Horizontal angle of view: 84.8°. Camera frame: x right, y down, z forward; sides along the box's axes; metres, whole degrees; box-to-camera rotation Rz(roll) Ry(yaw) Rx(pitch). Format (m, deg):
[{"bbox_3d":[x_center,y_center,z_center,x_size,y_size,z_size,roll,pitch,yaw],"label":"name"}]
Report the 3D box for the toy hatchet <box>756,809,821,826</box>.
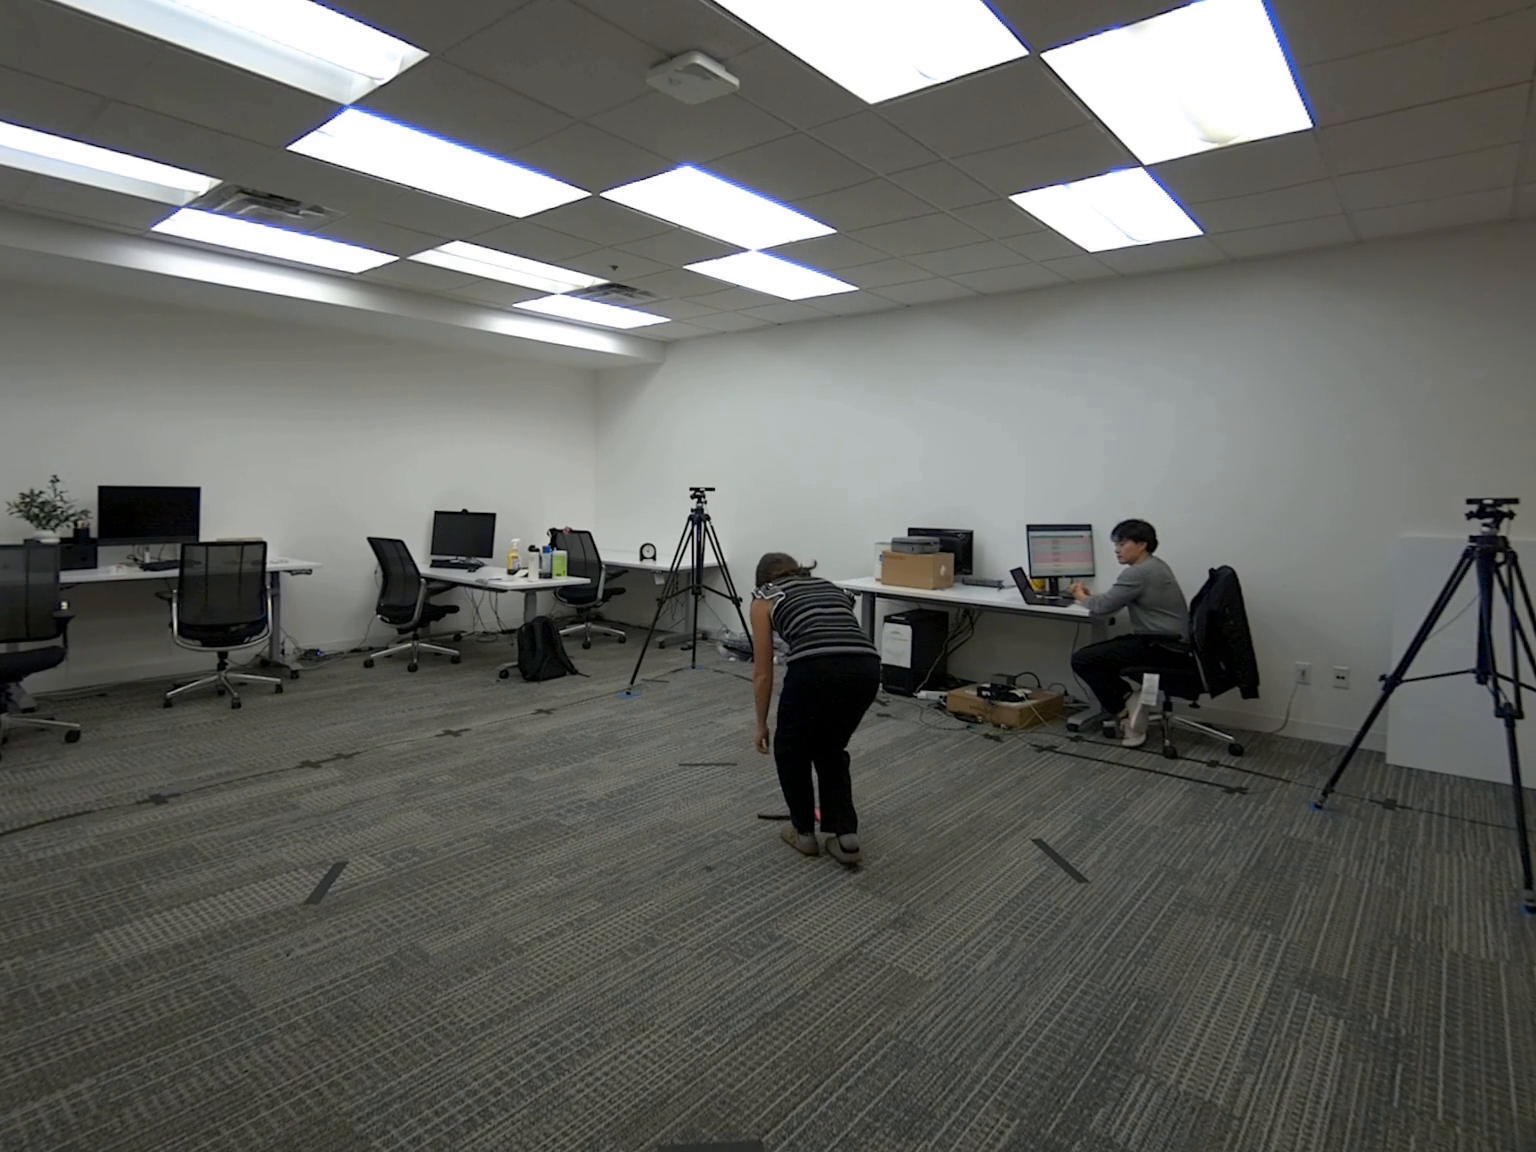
[{"bbox_3d":[0.084,1.008,3.635,0.272,0.029,0.131,1,7,7],"label":"toy hatchet"}]
